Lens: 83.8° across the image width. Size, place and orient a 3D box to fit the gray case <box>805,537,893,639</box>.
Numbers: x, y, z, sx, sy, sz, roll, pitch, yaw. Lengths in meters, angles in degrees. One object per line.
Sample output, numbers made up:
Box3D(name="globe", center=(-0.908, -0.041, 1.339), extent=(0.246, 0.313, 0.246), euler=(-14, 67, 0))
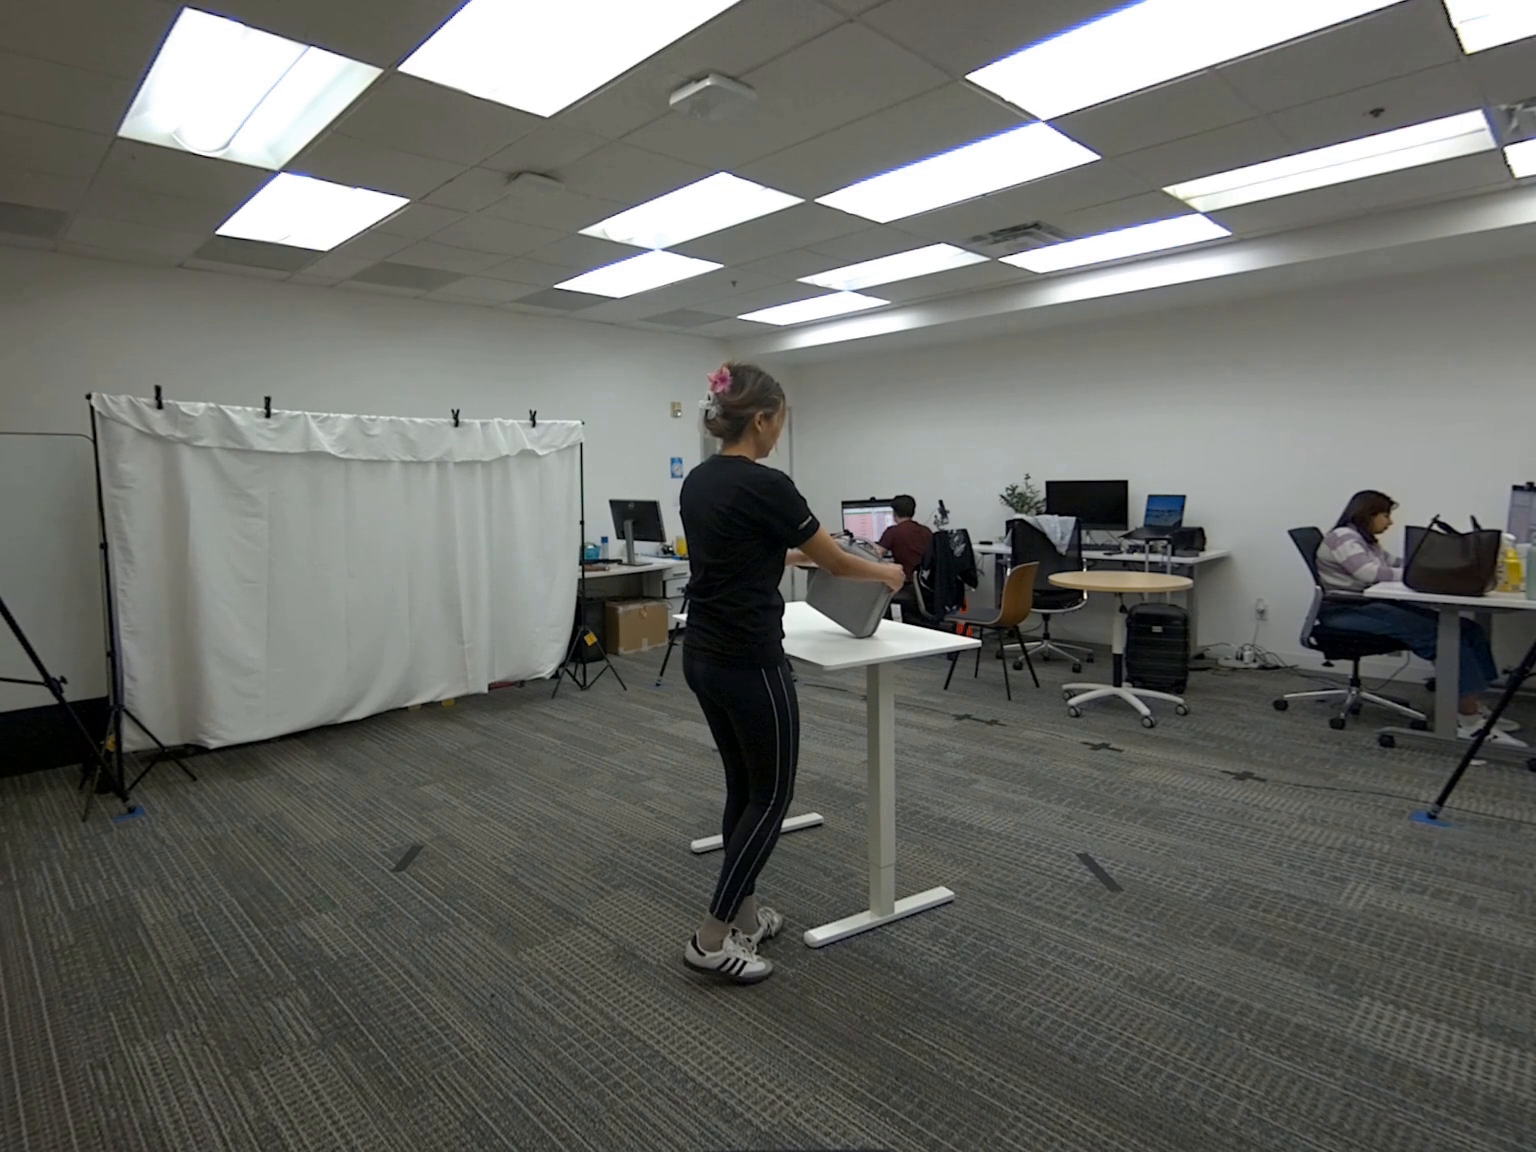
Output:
Box3D(name="gray case", center=(0.286, 0.040, 2.787), extent=(0.266, 0.258, 0.101), euler=(33, 22, 32))
